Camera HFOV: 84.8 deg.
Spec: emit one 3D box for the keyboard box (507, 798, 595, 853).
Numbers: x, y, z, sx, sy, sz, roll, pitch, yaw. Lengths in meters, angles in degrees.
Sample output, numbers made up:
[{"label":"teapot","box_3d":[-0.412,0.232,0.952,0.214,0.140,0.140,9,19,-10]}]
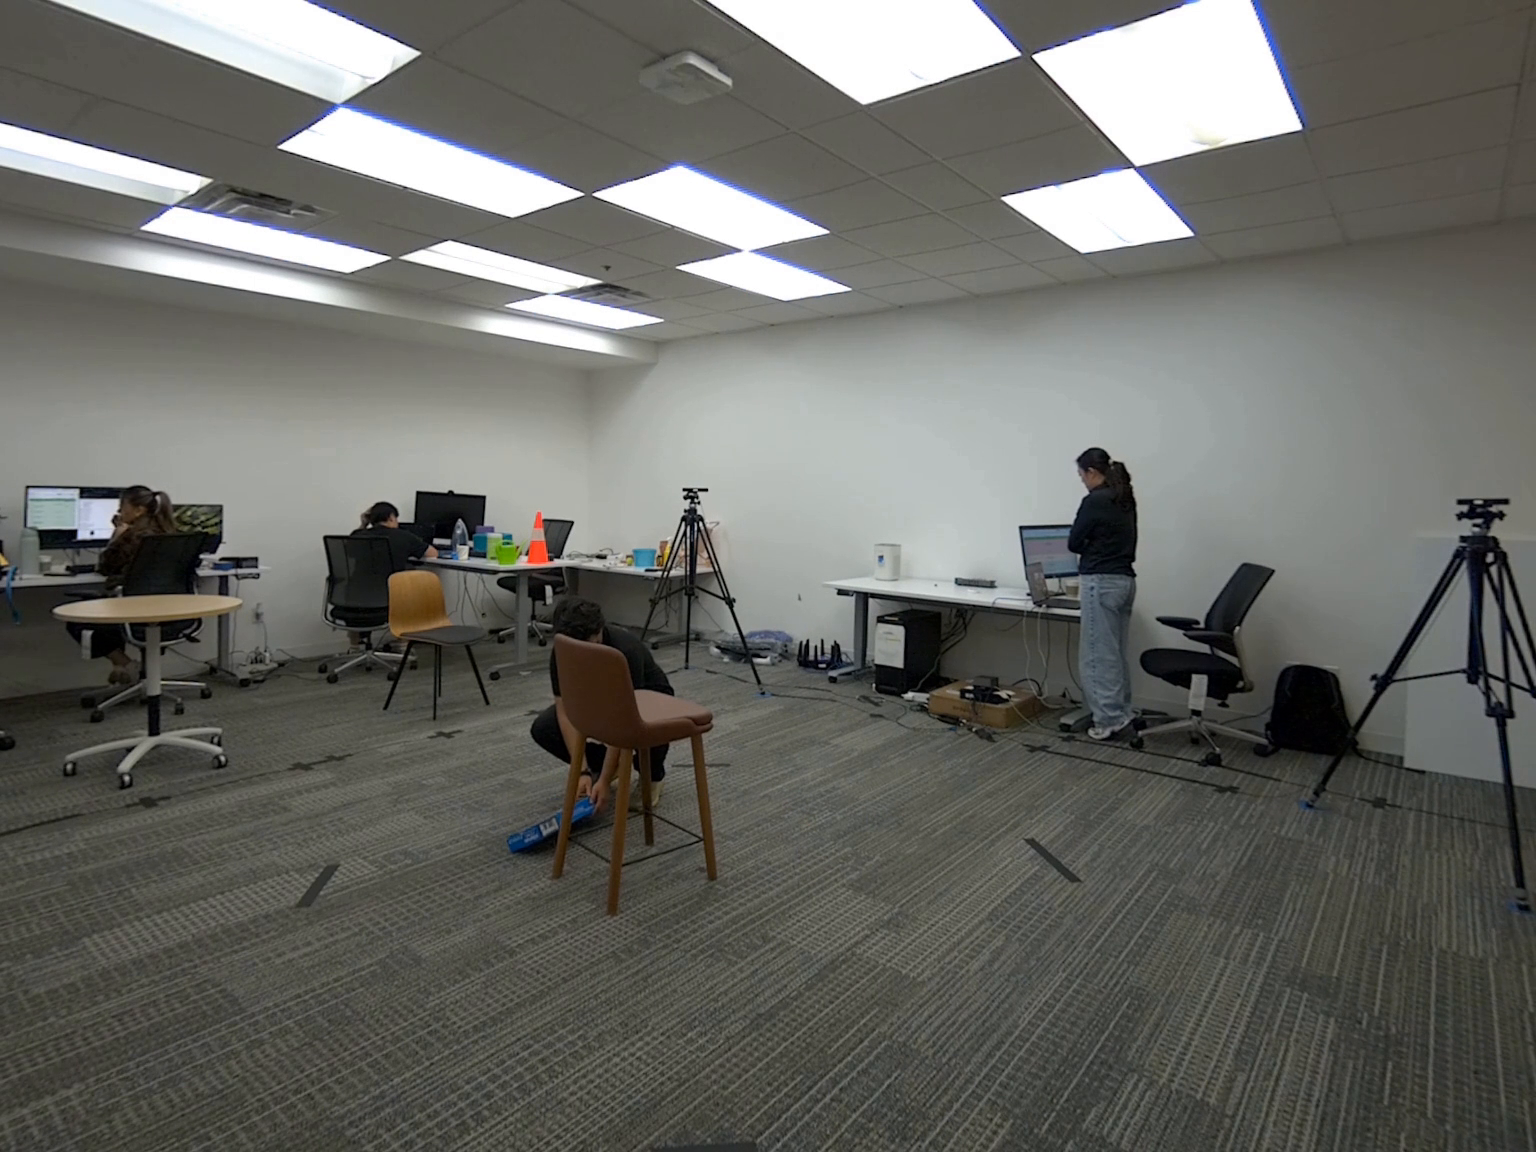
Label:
[{"label":"keyboard box","box_3d":[-0.855,0.972,3.388,0.178,0.060,0.427,-28,-7,22]}]
